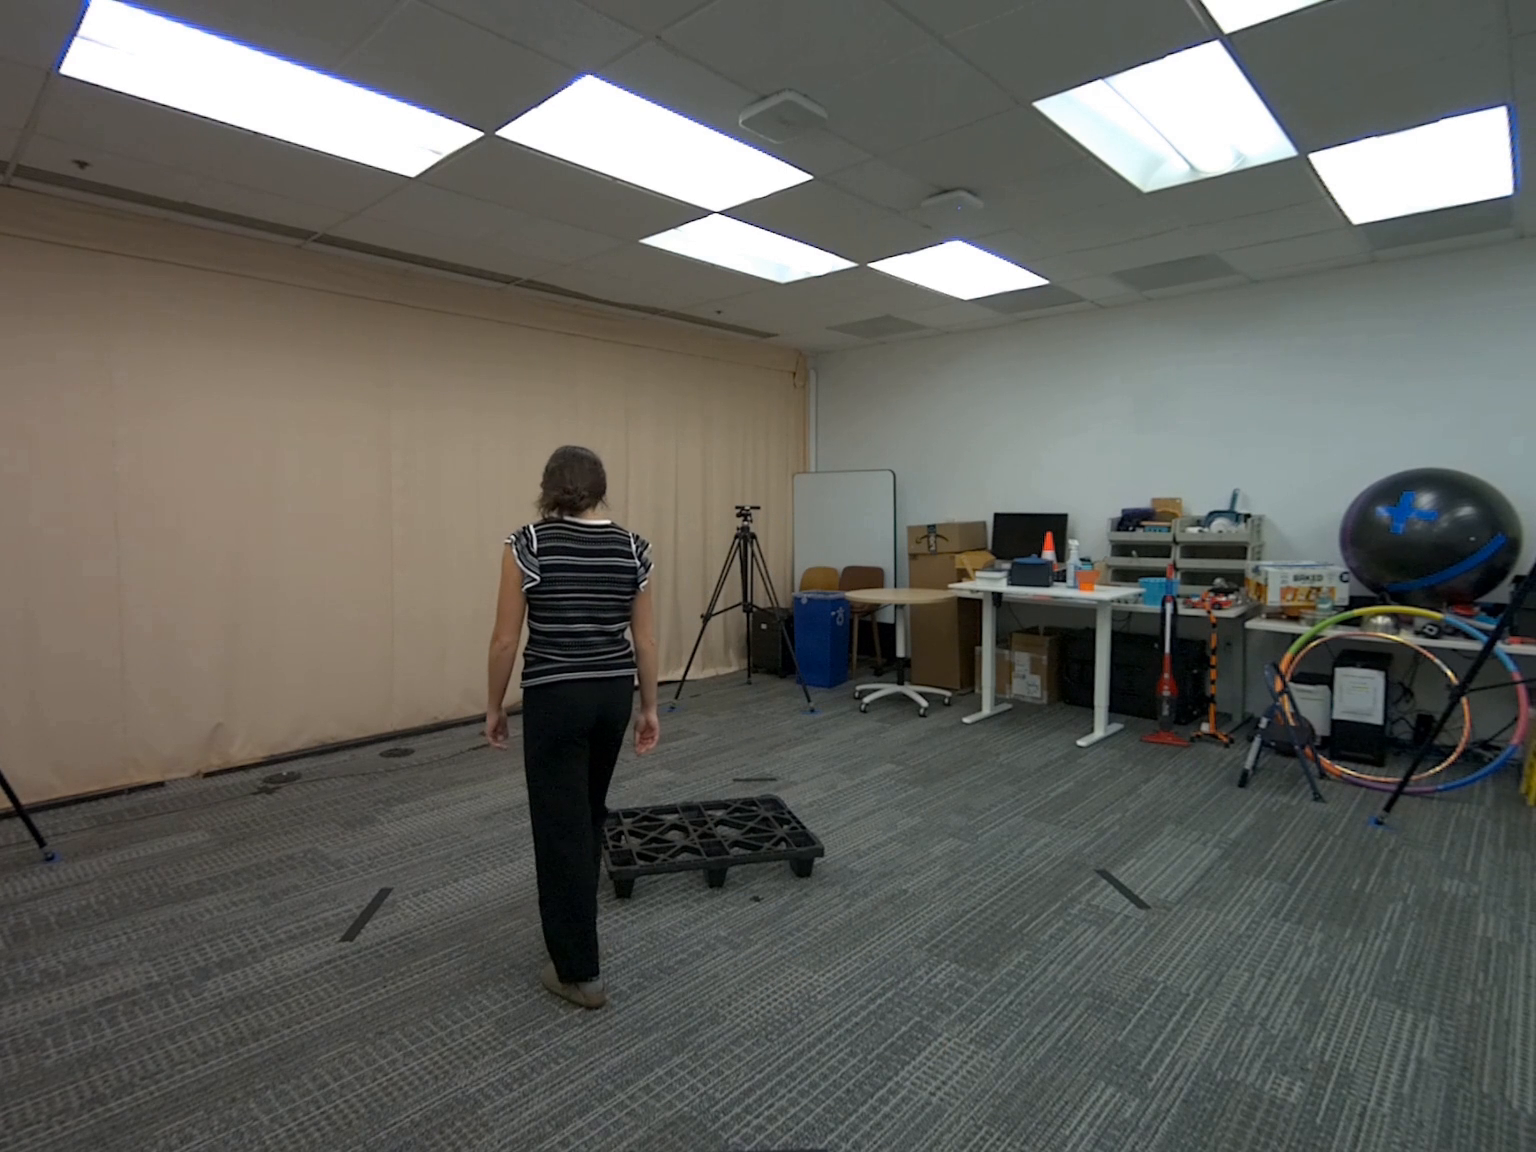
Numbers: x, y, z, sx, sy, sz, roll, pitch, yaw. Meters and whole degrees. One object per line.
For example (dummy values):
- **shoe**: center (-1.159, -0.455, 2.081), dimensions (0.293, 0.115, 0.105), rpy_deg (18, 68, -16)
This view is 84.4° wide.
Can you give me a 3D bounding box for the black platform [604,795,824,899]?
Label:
- **black platform**: center (-0.255, 1.051, 3.297), dimensions (0.794, 0.143, 0.615), rpy_deg (-1, 4, -15)
